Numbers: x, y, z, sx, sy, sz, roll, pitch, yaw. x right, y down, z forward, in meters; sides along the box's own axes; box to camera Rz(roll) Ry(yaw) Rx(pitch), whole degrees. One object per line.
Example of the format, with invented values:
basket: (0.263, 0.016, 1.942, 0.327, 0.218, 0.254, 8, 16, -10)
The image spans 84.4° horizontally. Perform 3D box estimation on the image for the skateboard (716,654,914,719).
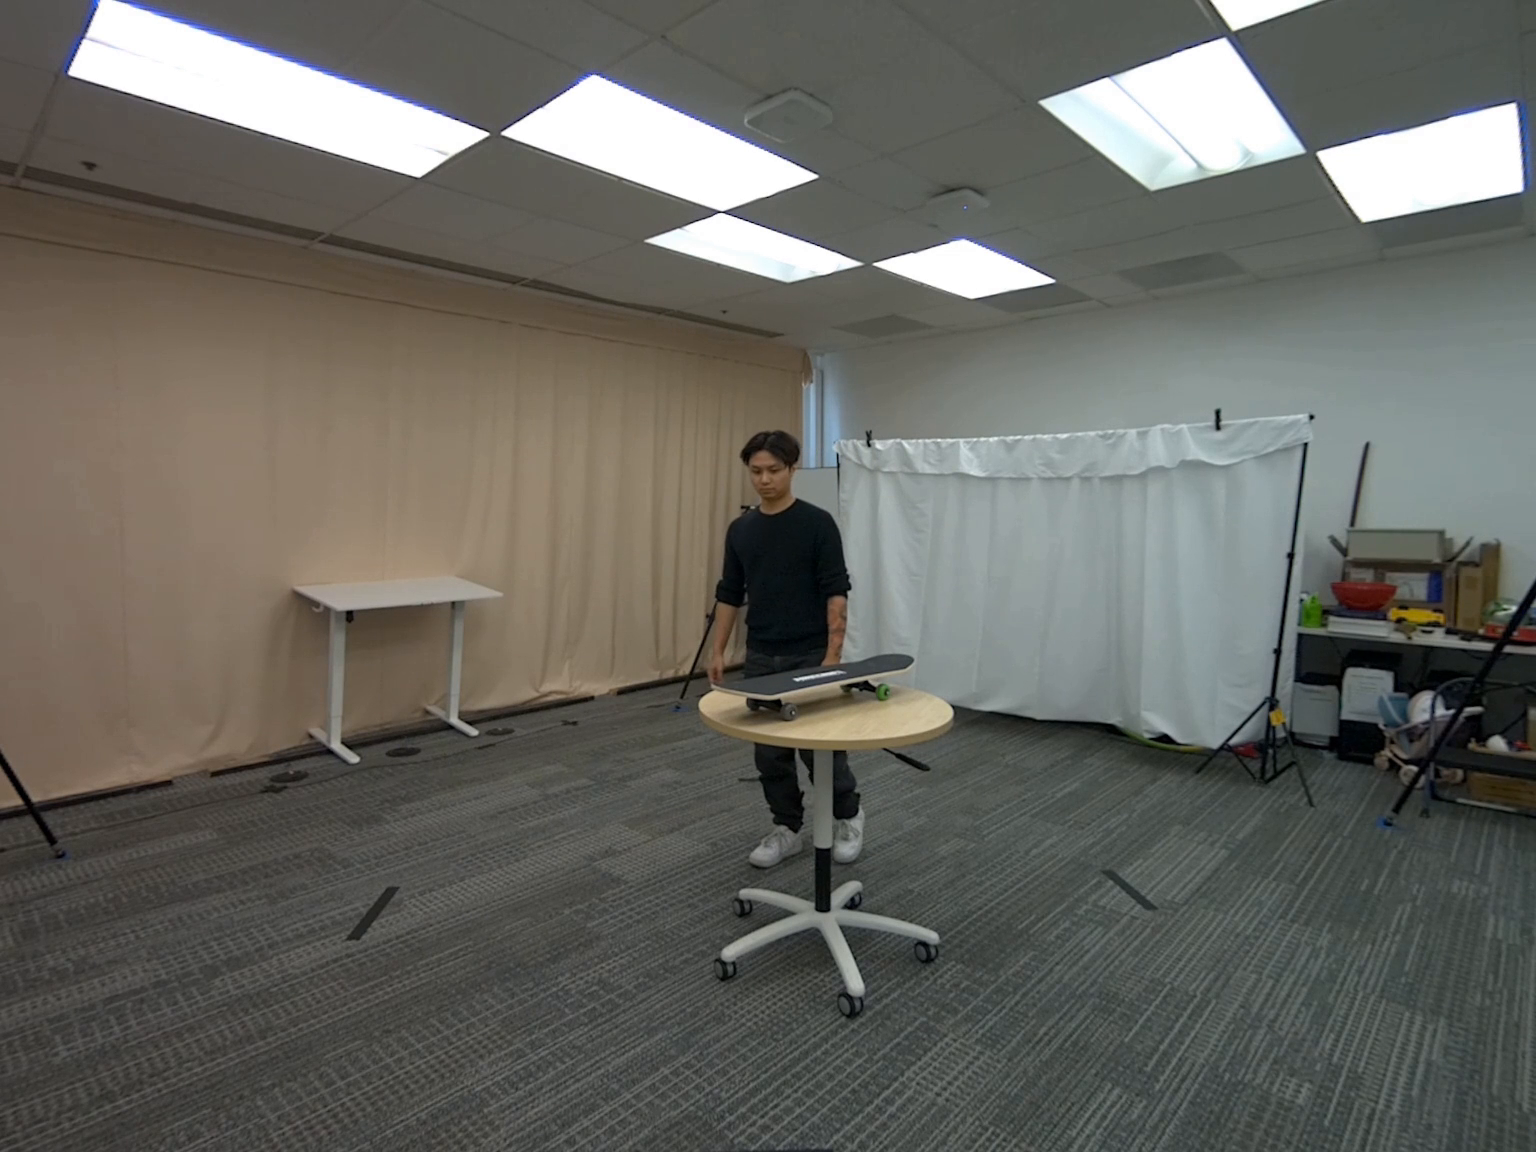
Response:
skateboard: (0.156, 0.343, 2.567, 0.762, 0.110, 0.200, -5, 6, -39)
